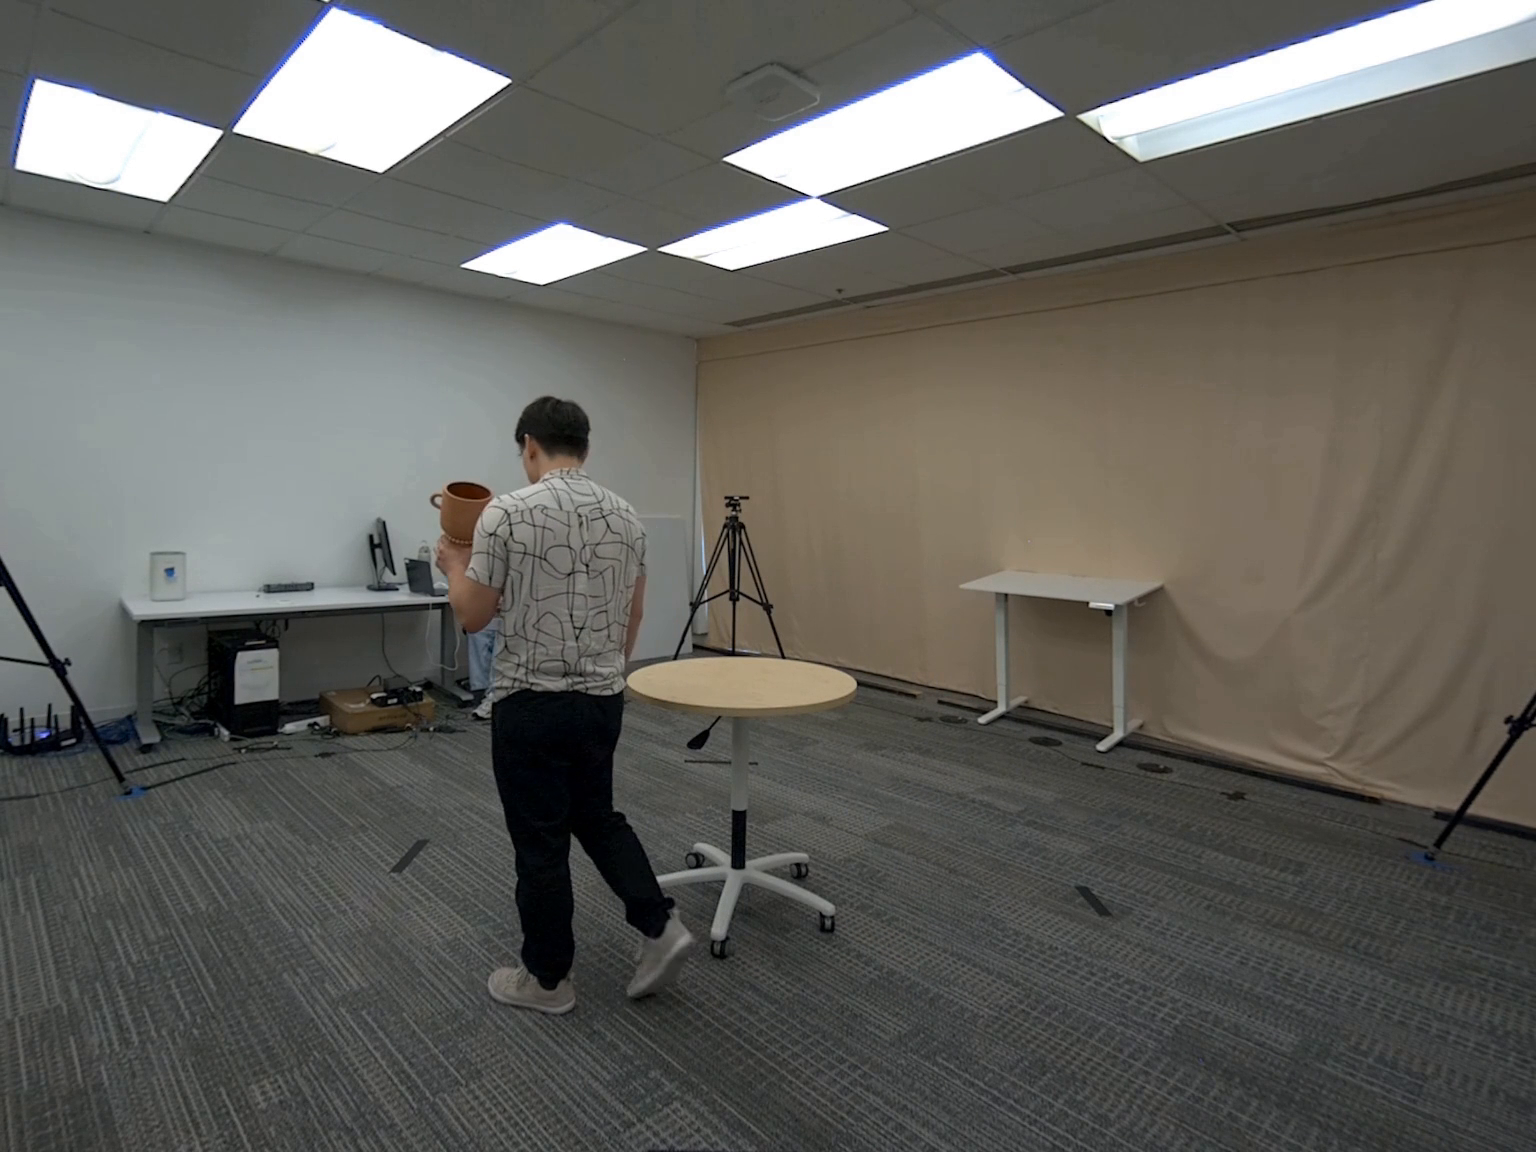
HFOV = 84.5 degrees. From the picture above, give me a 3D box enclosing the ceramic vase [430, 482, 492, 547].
[{"bbox_3d":[-0.848,-0.138,2.348,0.163,0.217,0.132,31,29,31],"label":"ceramic vase"}]
